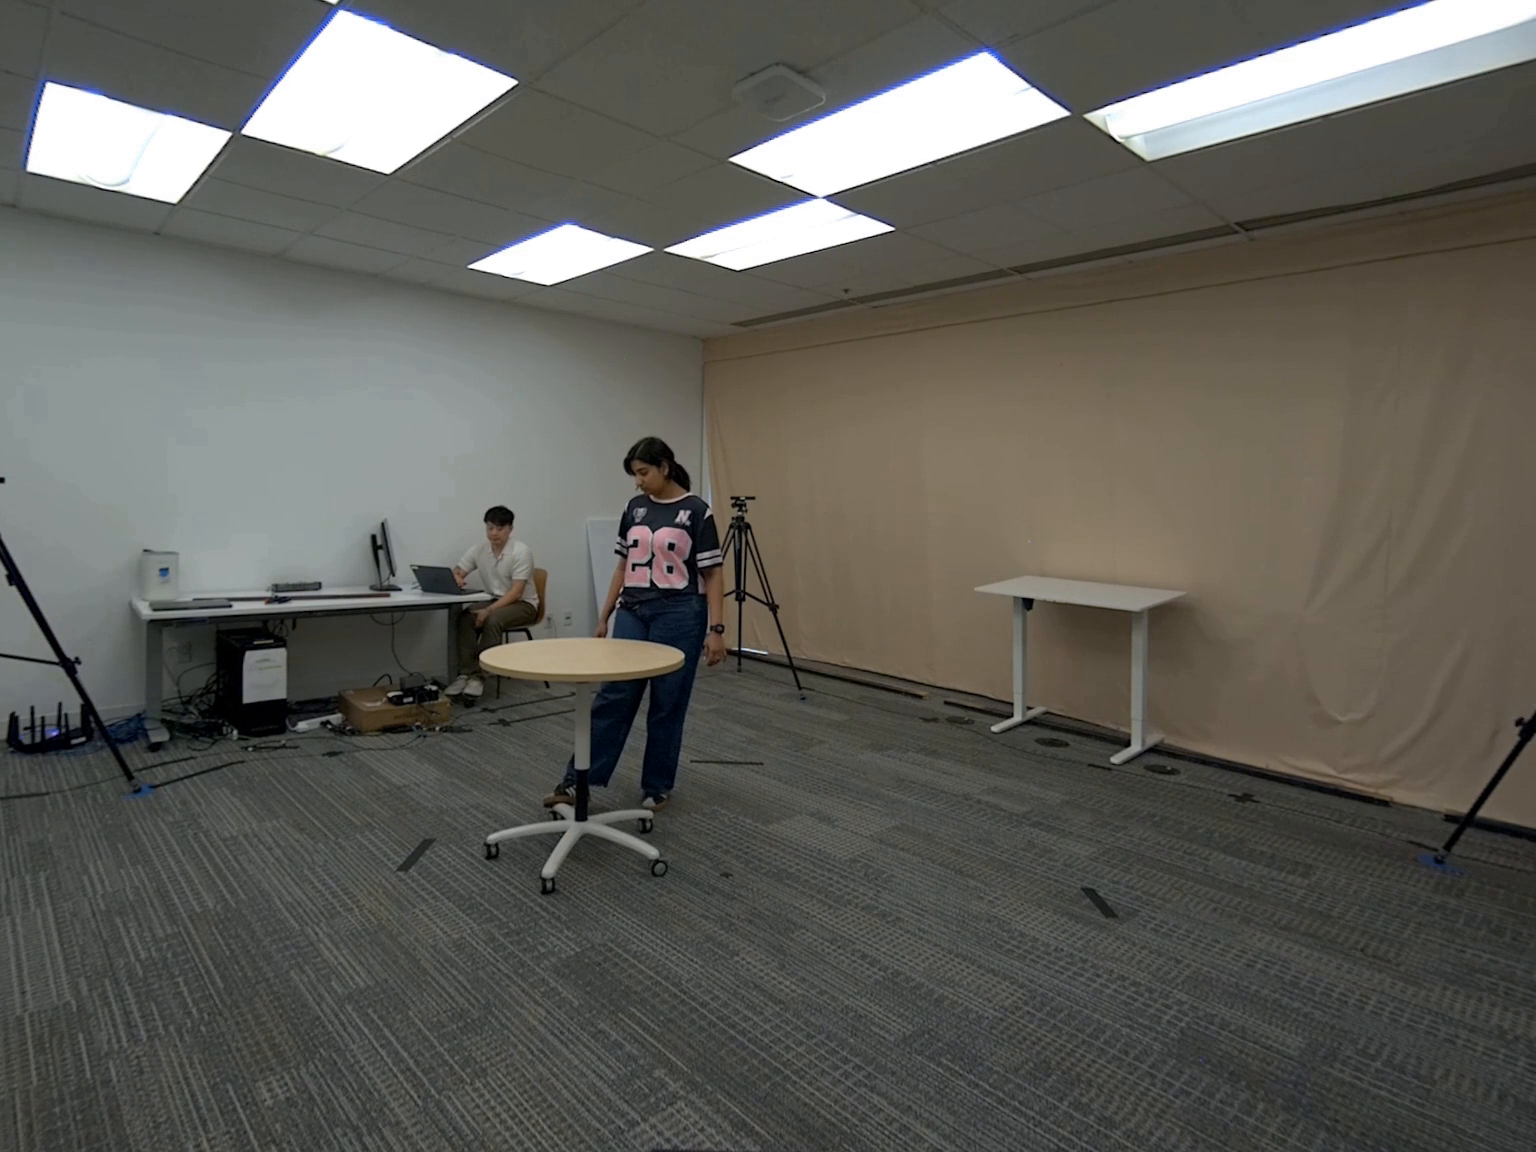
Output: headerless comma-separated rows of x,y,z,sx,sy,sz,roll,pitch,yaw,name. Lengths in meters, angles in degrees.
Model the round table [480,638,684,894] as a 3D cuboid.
-0.722,0.695,3.219,0.763,0.792,0.766,2,4,-1,round table
